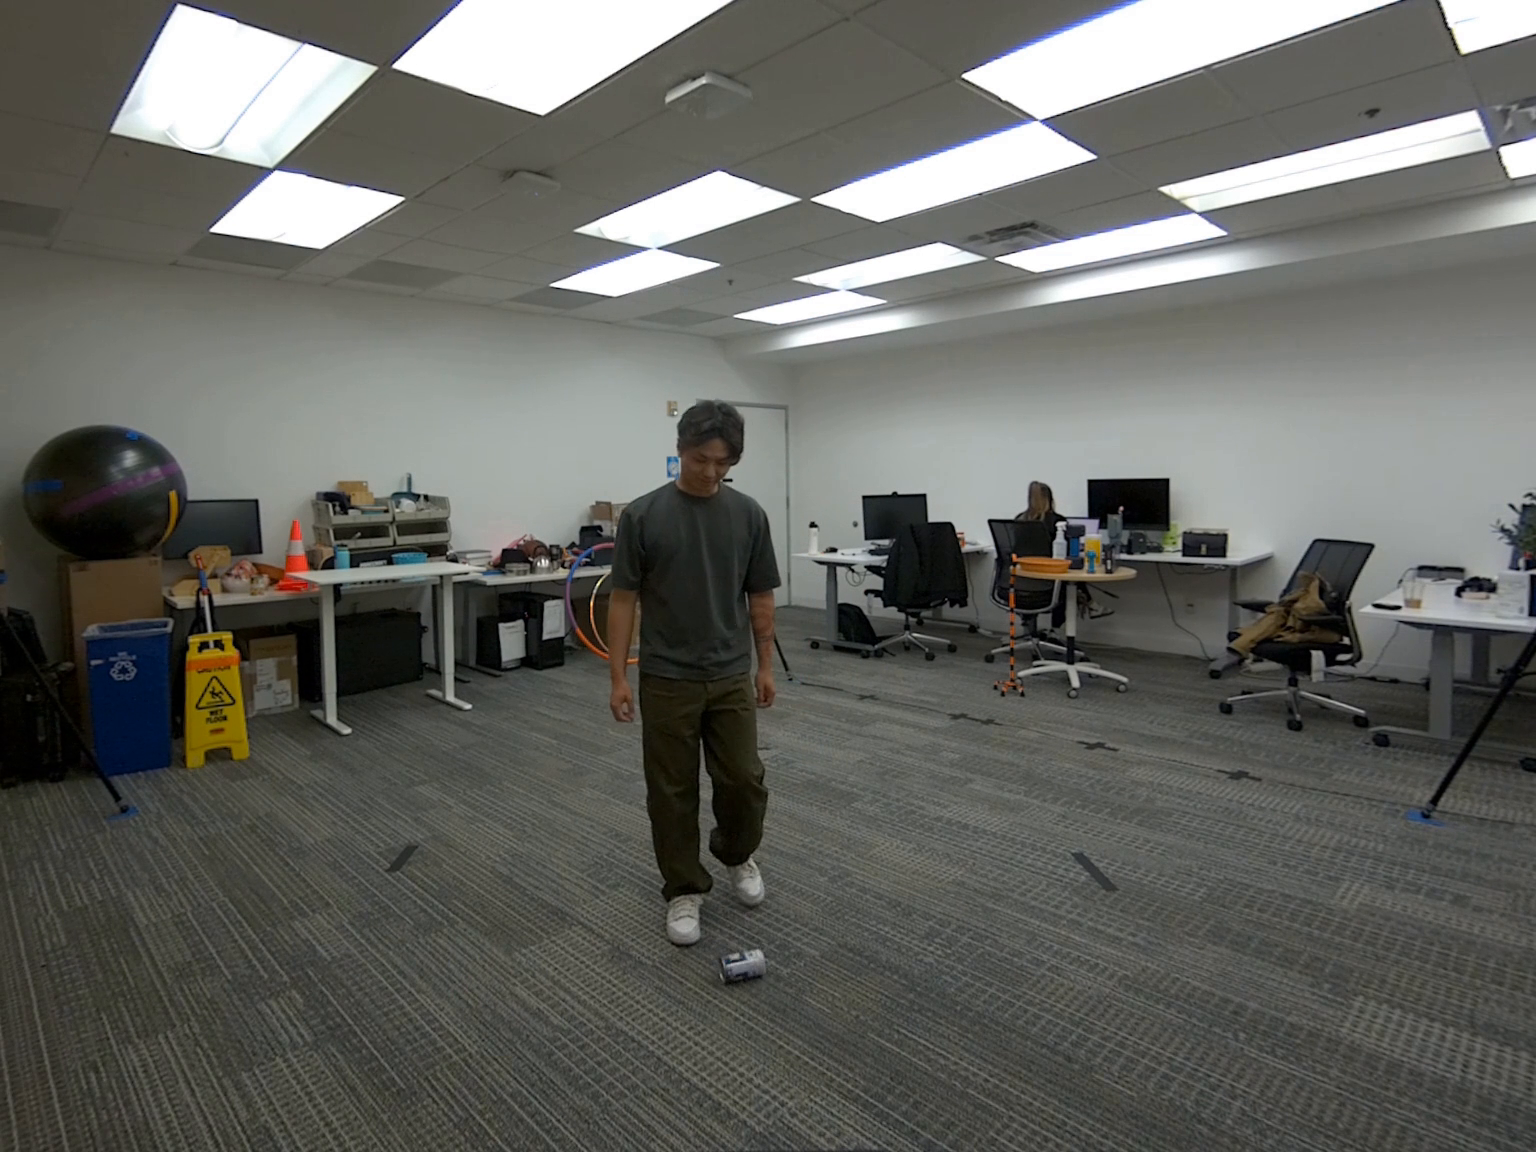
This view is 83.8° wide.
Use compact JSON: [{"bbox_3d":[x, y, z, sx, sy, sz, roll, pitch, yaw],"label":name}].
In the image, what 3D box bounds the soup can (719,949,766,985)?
[{"bbox_3d":[-0.069,1.098,2.399,0.120,0.067,0.068,-5,6,-14],"label":"soup can"}]
